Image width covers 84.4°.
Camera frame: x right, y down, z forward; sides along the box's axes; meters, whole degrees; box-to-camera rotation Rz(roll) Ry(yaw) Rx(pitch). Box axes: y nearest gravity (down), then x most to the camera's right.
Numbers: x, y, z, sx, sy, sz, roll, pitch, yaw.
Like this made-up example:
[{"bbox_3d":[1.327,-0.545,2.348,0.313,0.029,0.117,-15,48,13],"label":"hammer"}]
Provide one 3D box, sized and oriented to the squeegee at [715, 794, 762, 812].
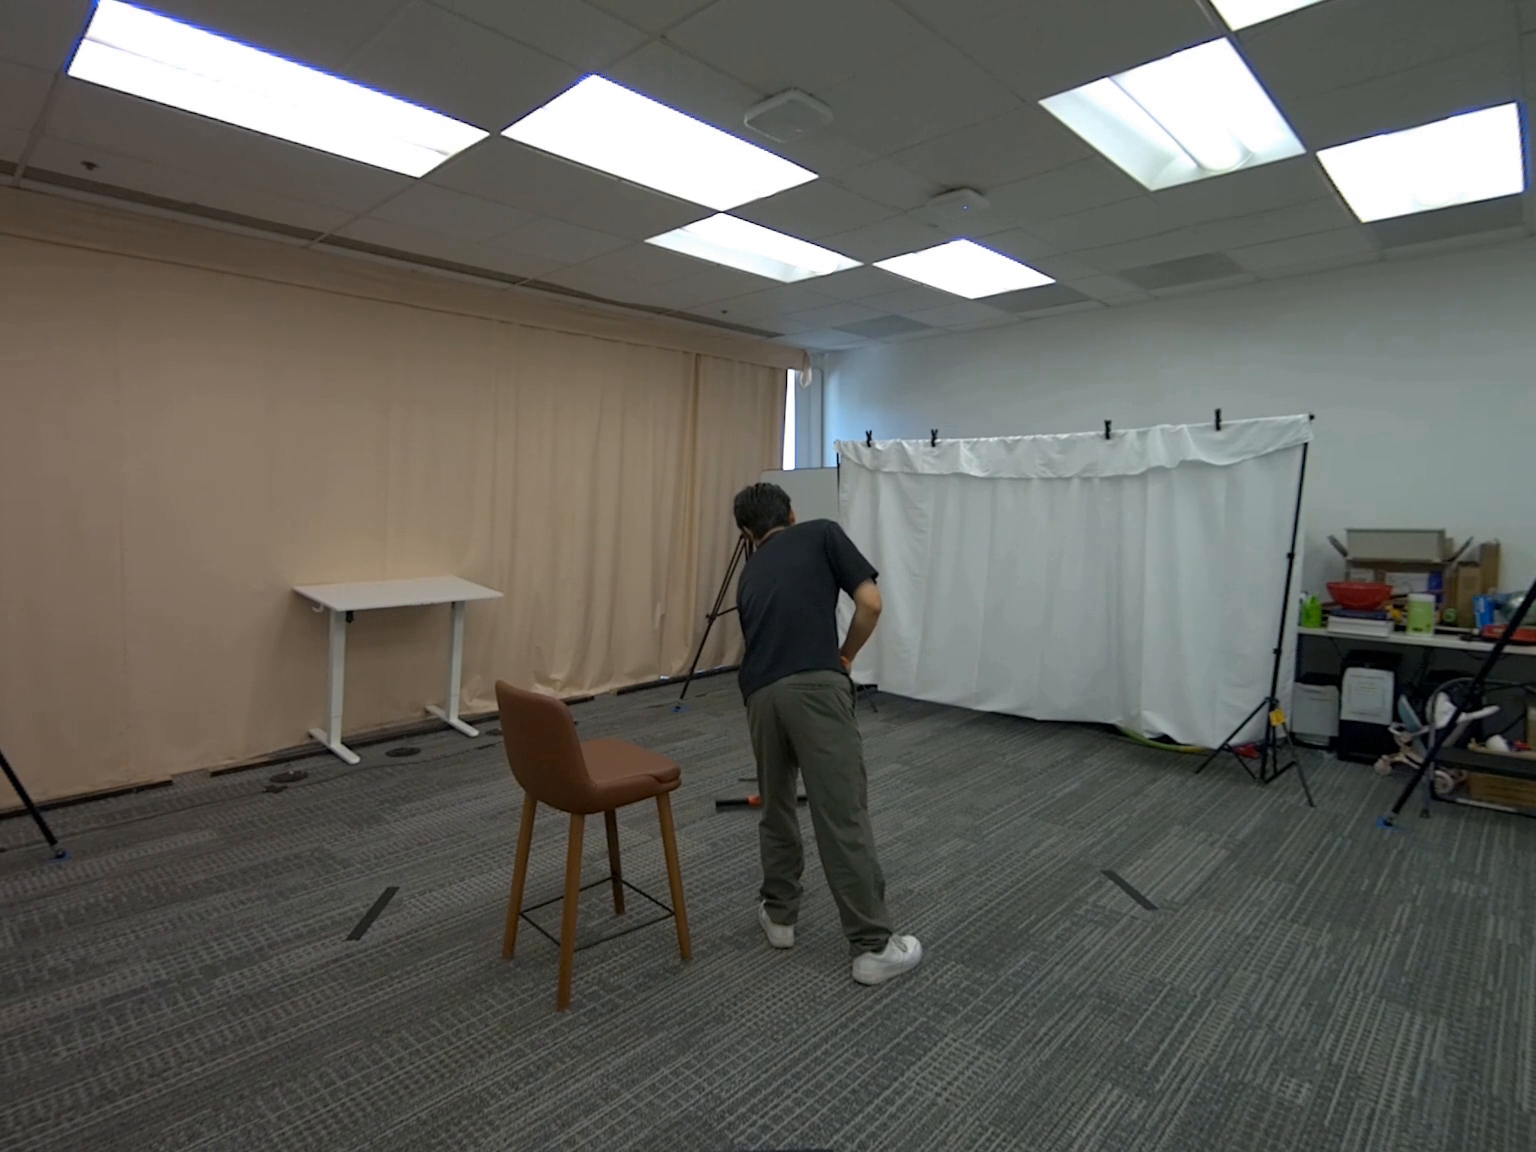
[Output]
[{"bbox_3d":[0.051,0.654,3.272,0.434,0.054,1.520,-1,-32,-9],"label":"squeegee"}]
